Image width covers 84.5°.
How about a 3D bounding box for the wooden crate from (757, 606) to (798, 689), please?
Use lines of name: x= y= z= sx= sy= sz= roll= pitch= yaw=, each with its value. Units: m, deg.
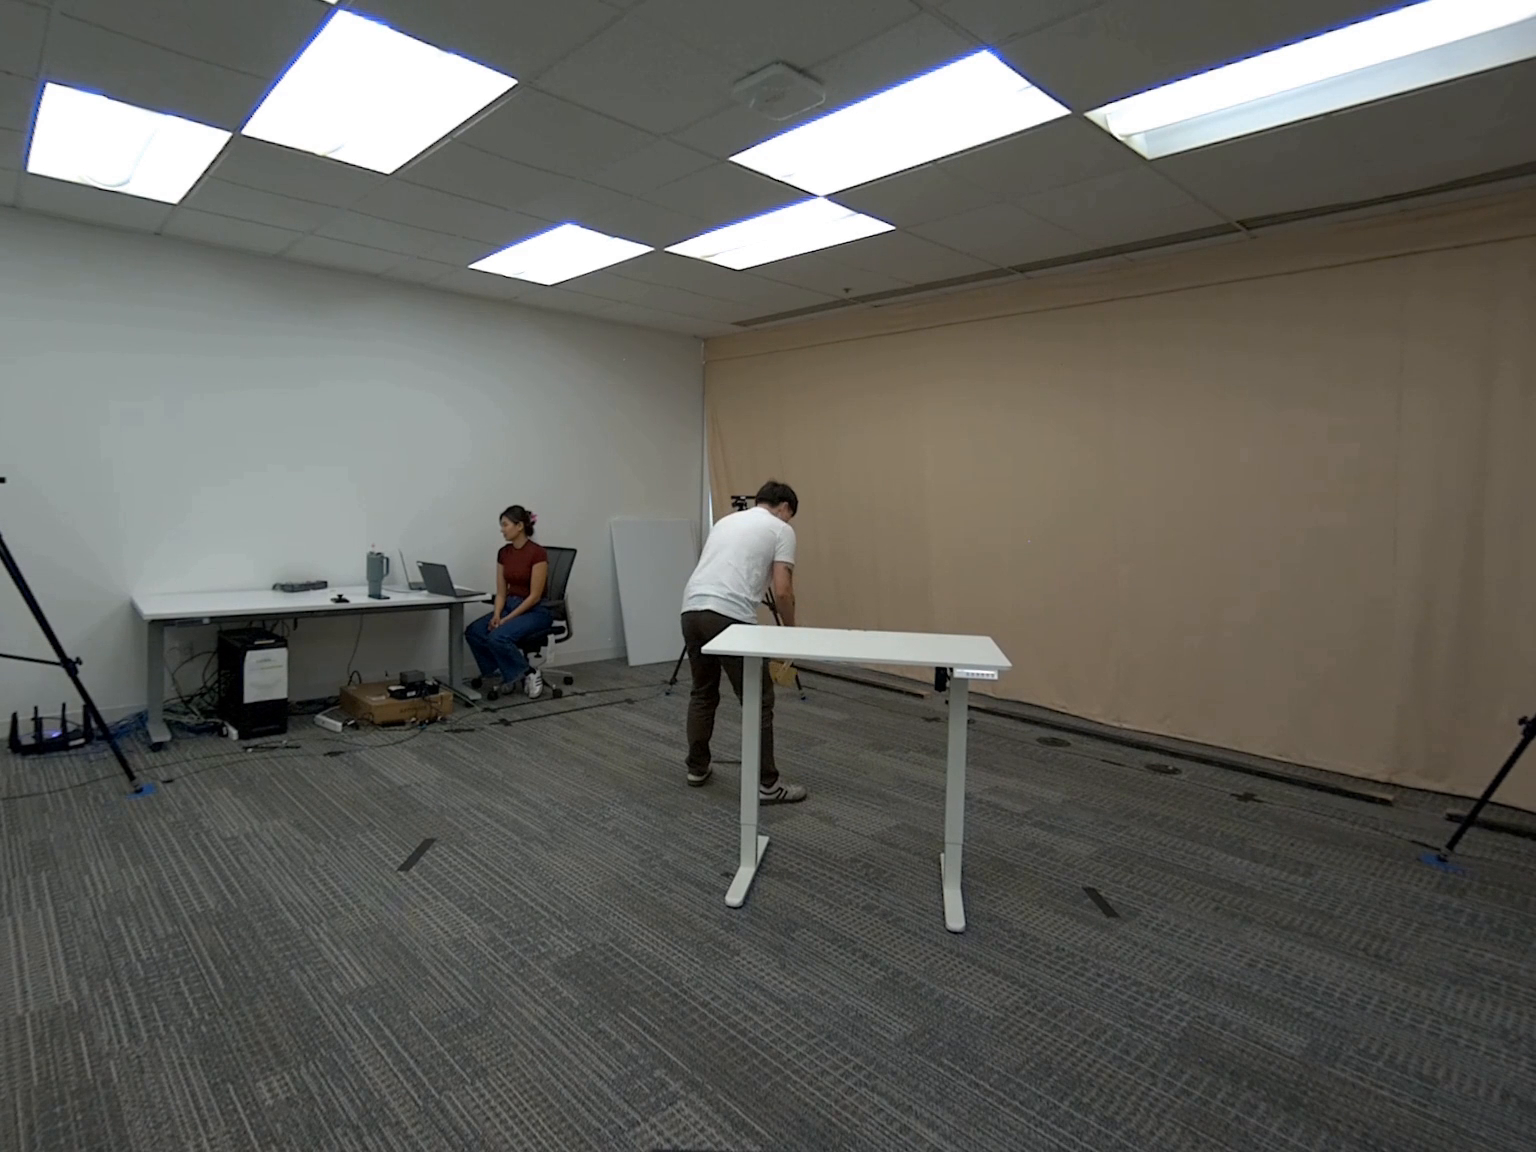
wooden crate: x=-0.026 y=0.384 z=4.223 sx=0.333 sy=0.275 sz=0.293 roll=5 pitch=-15 yaw=44
